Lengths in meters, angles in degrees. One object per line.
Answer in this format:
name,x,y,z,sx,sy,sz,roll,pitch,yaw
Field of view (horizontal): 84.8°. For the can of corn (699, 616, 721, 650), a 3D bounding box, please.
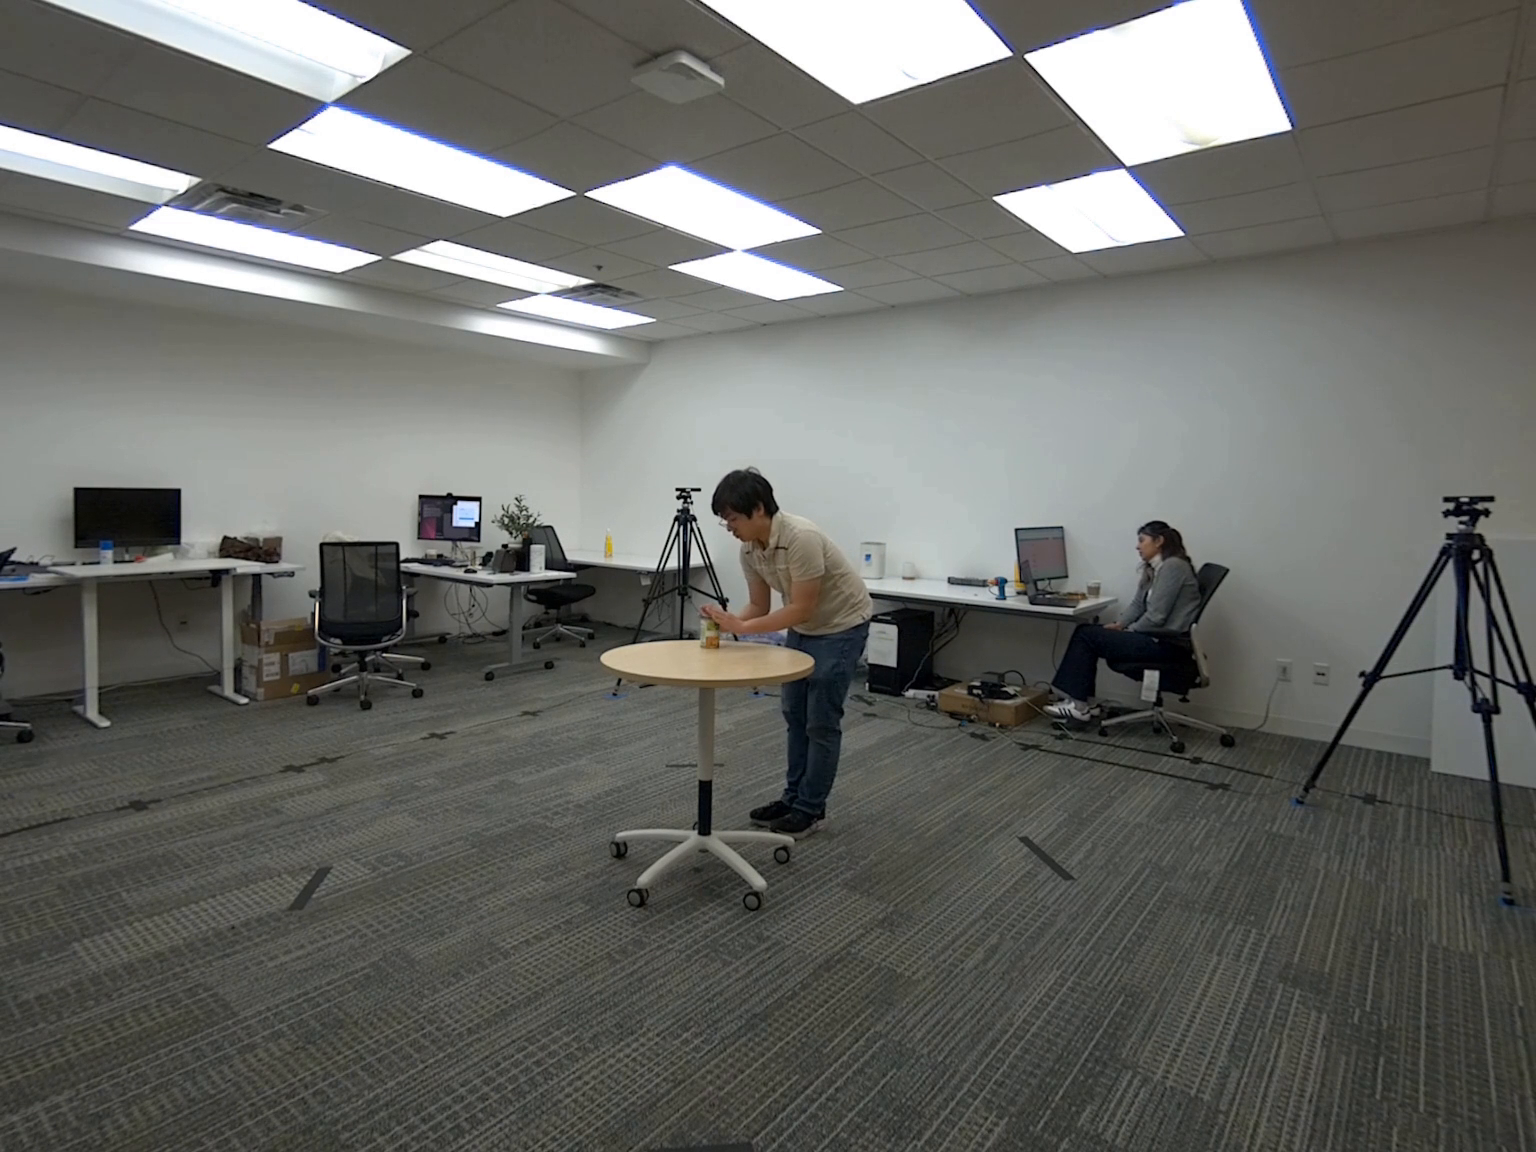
can of corn,-0.246,0.214,3.288,0.074,0.111,0.074,0,1,-2
